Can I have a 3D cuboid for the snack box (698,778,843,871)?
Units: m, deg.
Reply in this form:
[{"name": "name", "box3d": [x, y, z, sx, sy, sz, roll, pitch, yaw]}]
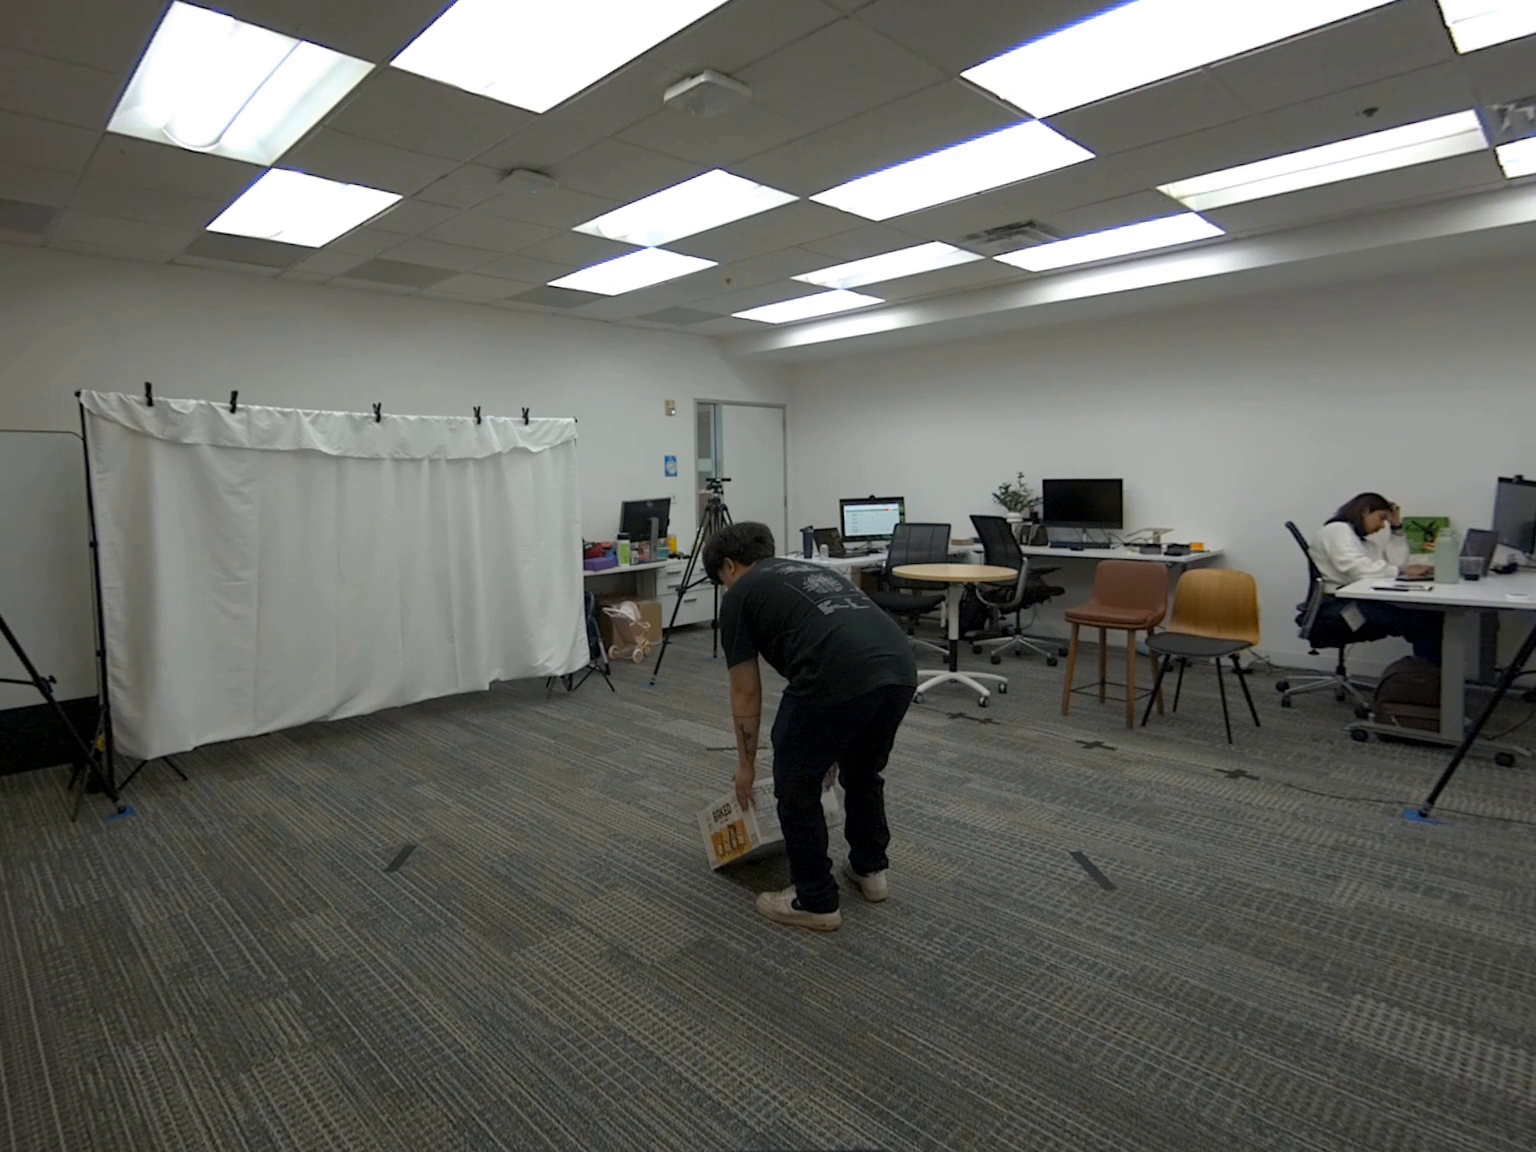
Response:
[{"name": "snack box", "box3d": [0.004, 0.861, 3.021, 0.332, 0.211, 0.404, -4, -26, -30]}]
